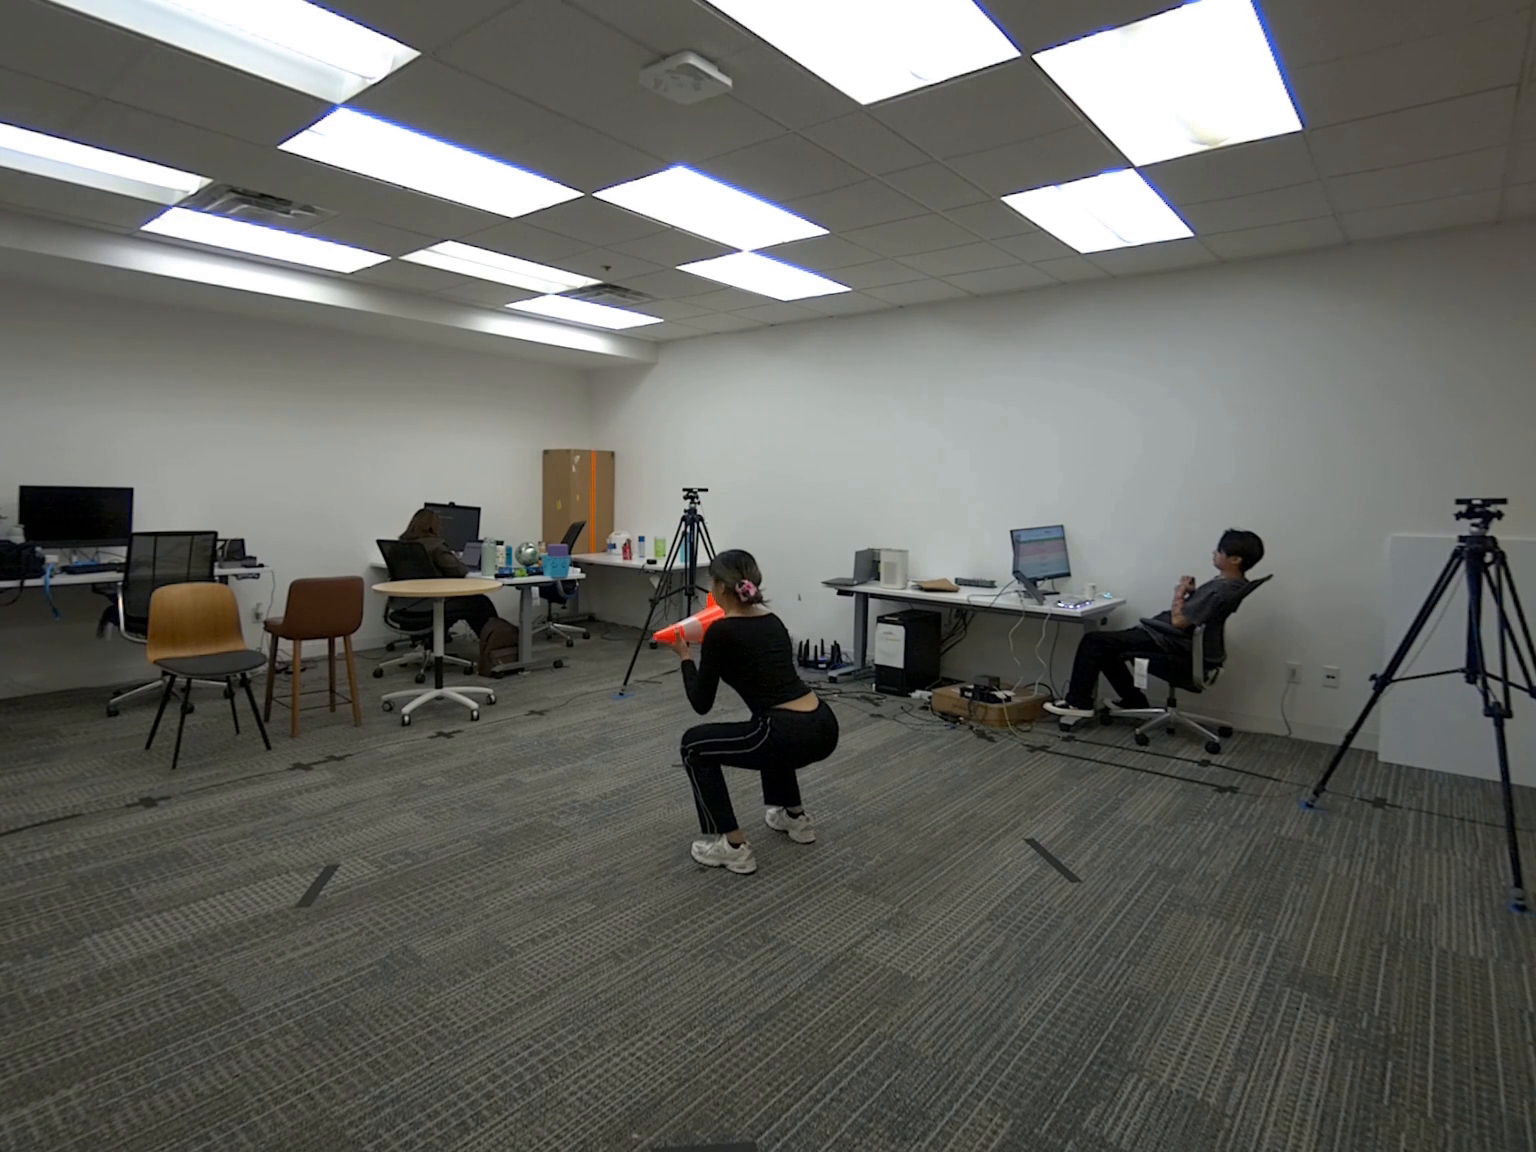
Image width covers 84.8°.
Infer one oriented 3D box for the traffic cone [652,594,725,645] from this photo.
[{"bbox_3d":[-0.324,0.209,3.462,0.212,0.202,0.373,27,24,37],"label":"traffic cone"}]
